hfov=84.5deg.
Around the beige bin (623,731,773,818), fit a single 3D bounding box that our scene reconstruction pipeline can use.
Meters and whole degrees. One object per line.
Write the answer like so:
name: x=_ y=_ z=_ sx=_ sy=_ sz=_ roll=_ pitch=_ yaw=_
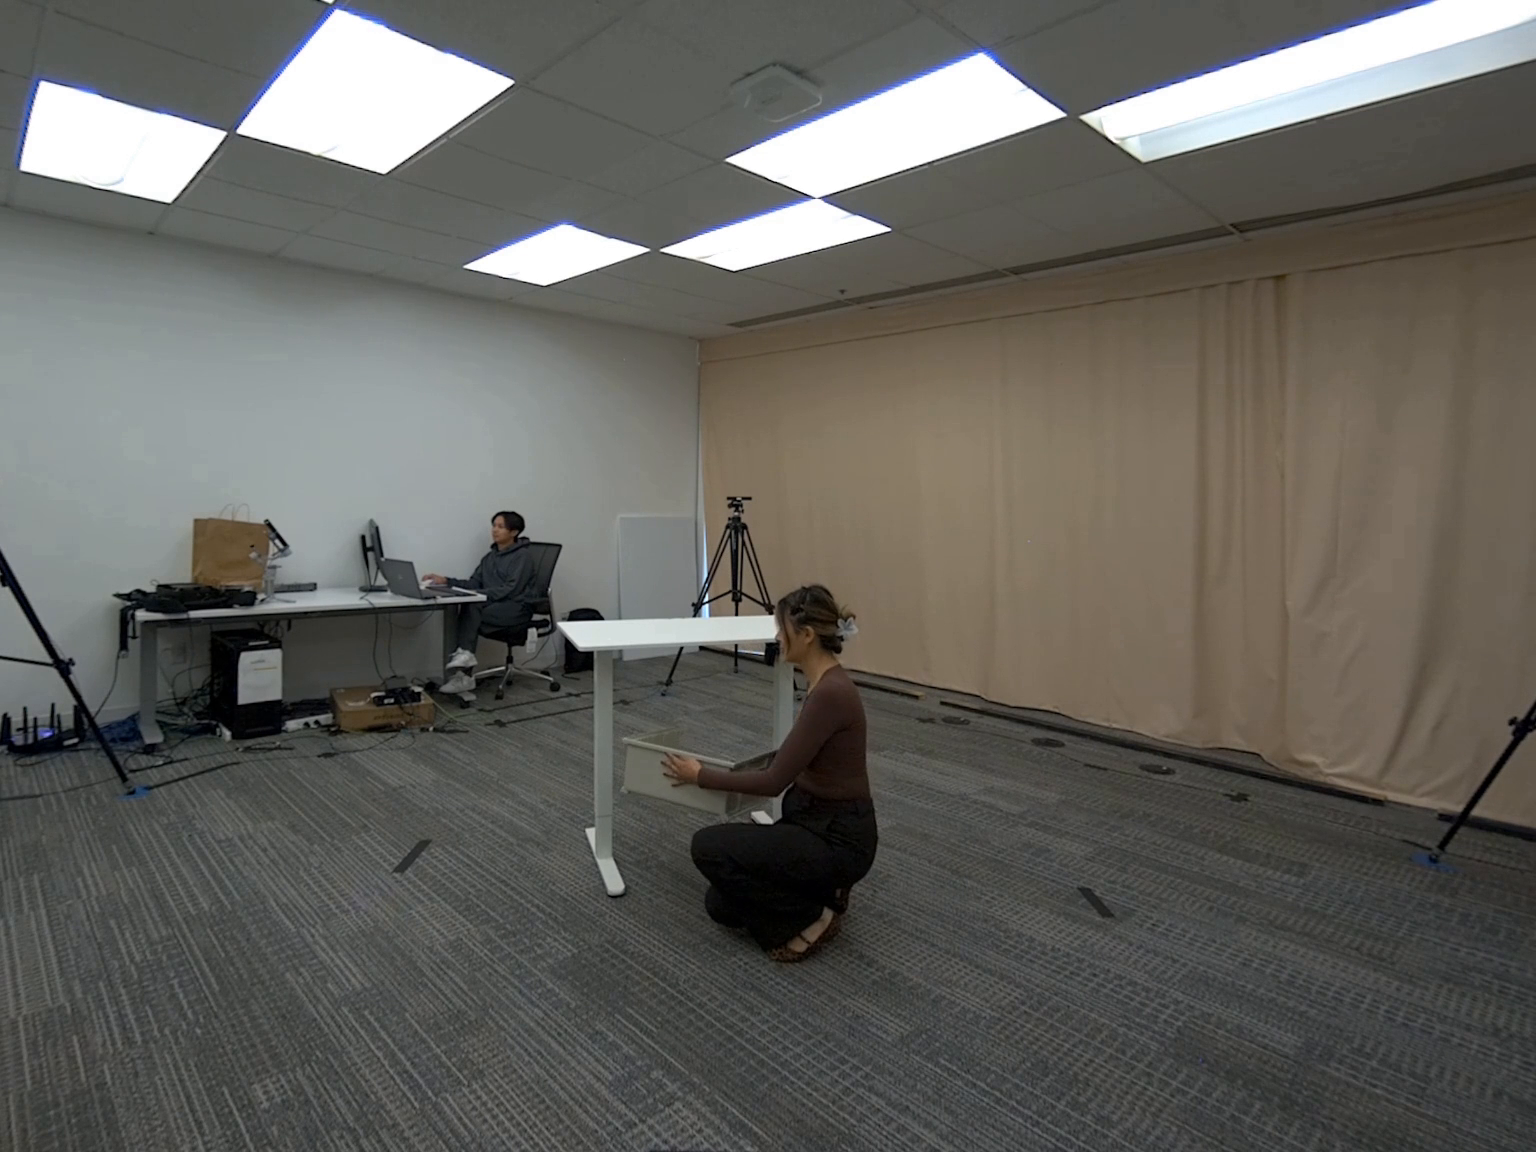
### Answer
beige bin: x=-0.228 y=0.655 z=2.856 sx=0.431 sy=0.189 sz=0.369 roll=6 pitch=2 yaw=27
